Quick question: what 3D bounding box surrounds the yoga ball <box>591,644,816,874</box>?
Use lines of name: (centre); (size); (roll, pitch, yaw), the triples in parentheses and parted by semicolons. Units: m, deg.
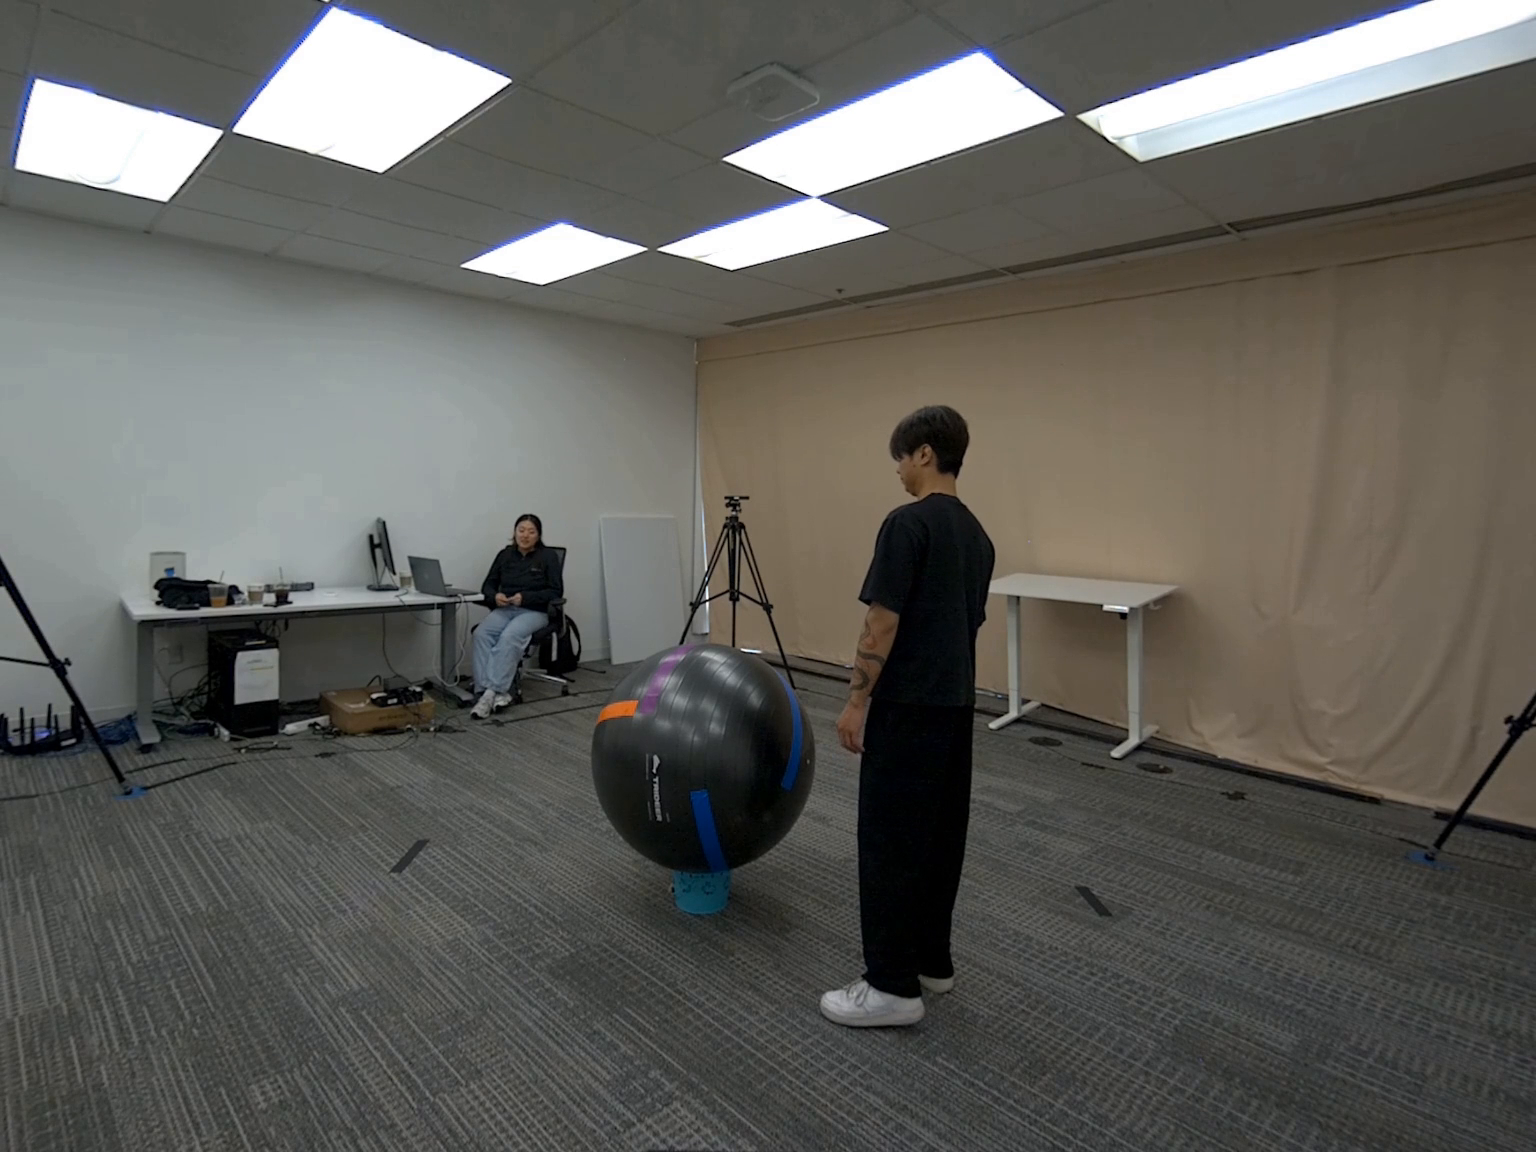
yoga ball: (-0.228, 0.613, 2.873); (0.757, 0.756, 0.761); (1, 4, -1)
